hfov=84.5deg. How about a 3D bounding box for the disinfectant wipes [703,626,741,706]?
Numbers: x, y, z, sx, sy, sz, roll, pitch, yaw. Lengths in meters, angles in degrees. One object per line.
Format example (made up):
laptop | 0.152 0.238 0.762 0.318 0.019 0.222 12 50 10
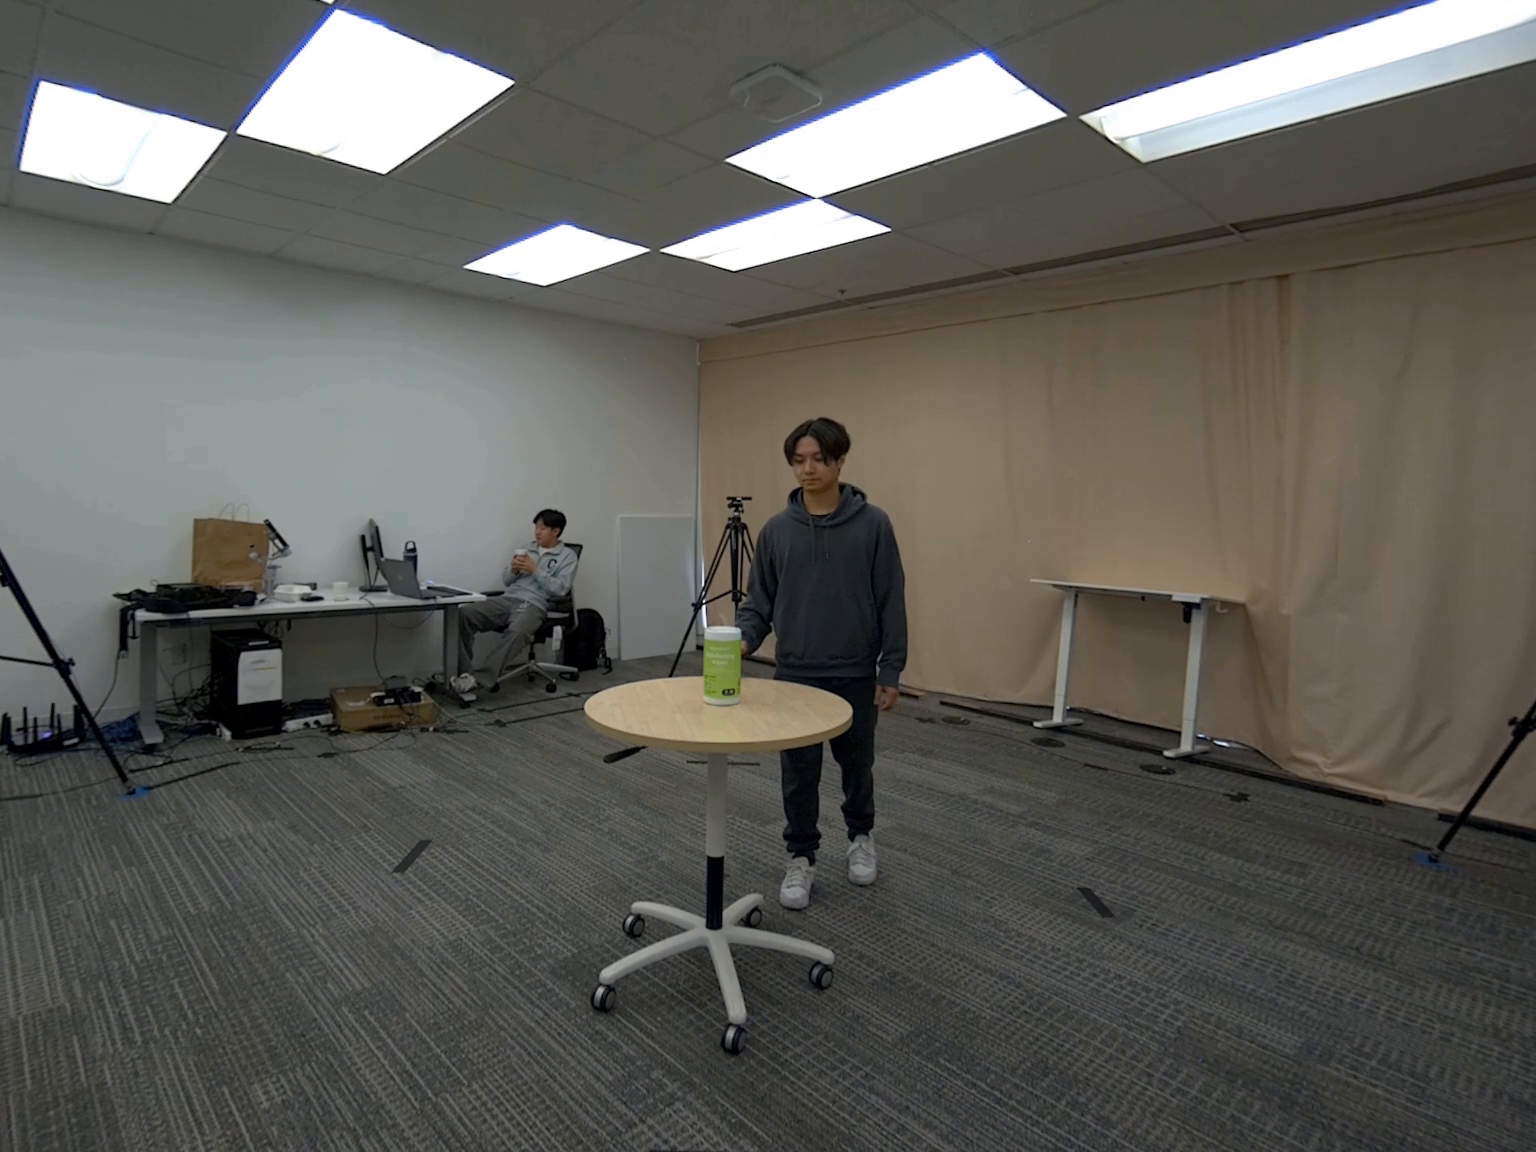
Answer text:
disinfectant wipes | -0.147 0.263 2.449 0.118 0.217 0.118 1 3 -1
